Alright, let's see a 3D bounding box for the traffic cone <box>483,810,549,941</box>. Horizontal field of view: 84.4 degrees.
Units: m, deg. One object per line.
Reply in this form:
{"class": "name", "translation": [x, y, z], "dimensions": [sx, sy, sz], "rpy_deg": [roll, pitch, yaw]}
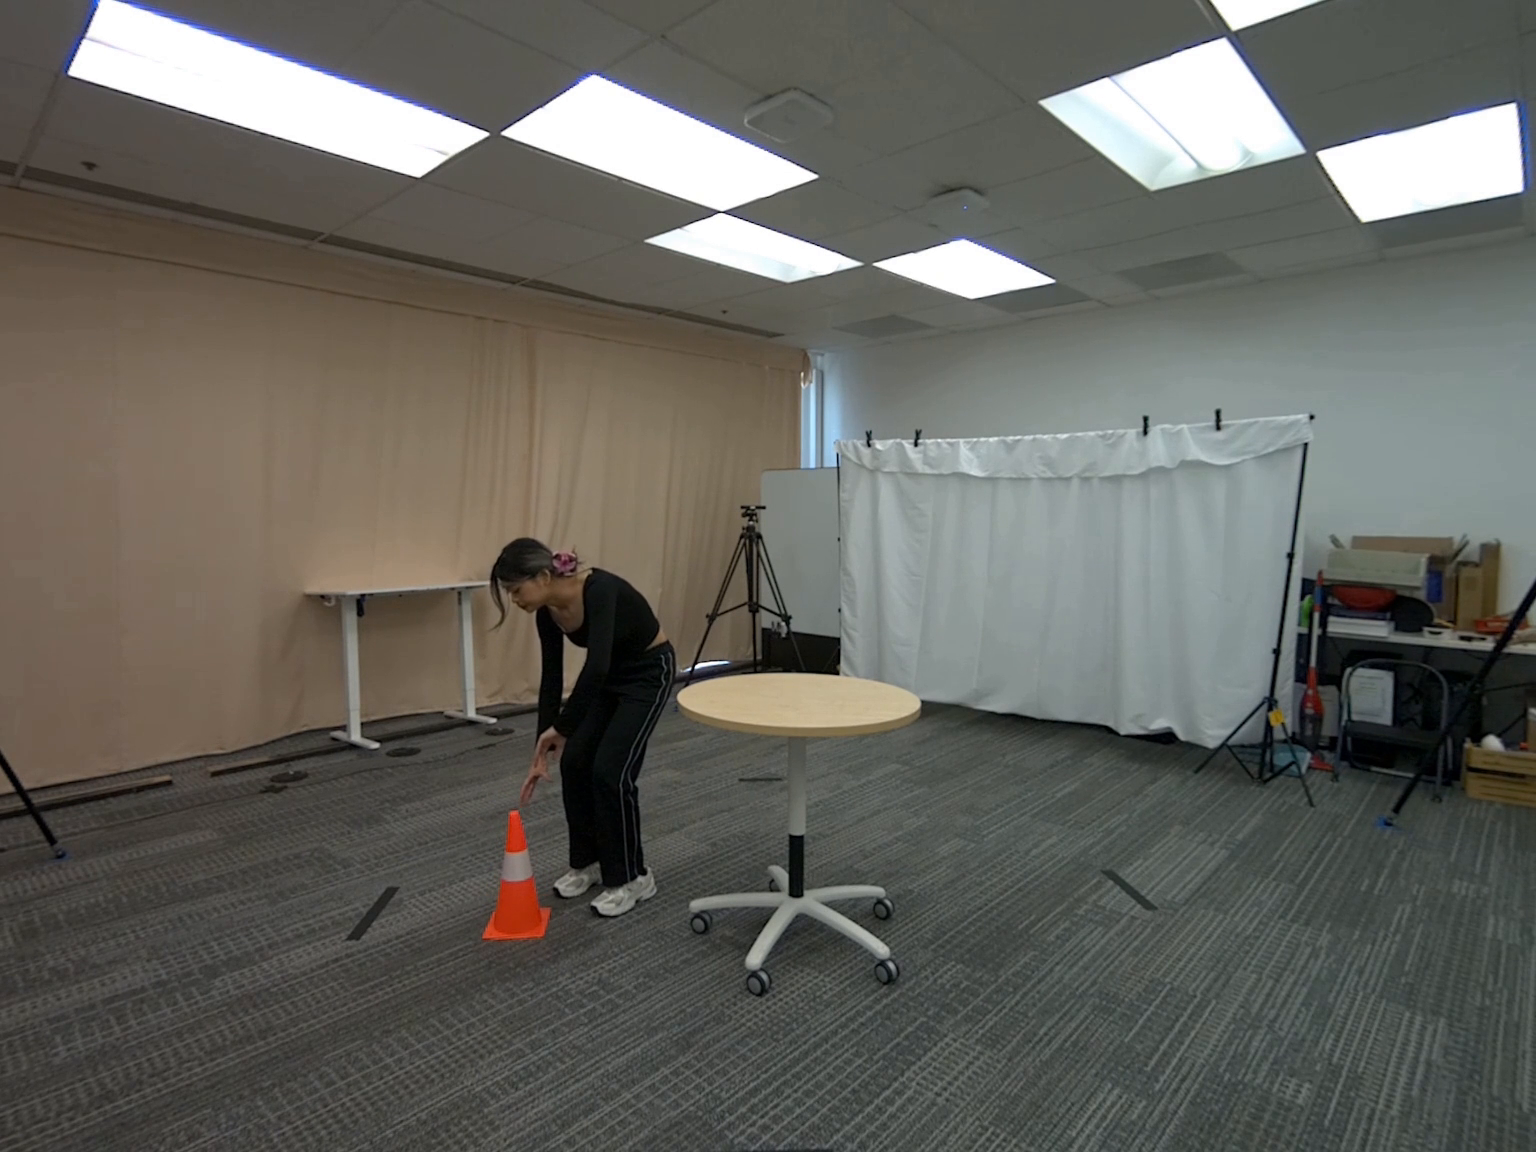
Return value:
{"class": "traffic cone", "translation": [-0.833, 0.979, 2.801], "dimensions": [0.204, 0.383, 0.204], "rpy_deg": [2, 3, -4]}
